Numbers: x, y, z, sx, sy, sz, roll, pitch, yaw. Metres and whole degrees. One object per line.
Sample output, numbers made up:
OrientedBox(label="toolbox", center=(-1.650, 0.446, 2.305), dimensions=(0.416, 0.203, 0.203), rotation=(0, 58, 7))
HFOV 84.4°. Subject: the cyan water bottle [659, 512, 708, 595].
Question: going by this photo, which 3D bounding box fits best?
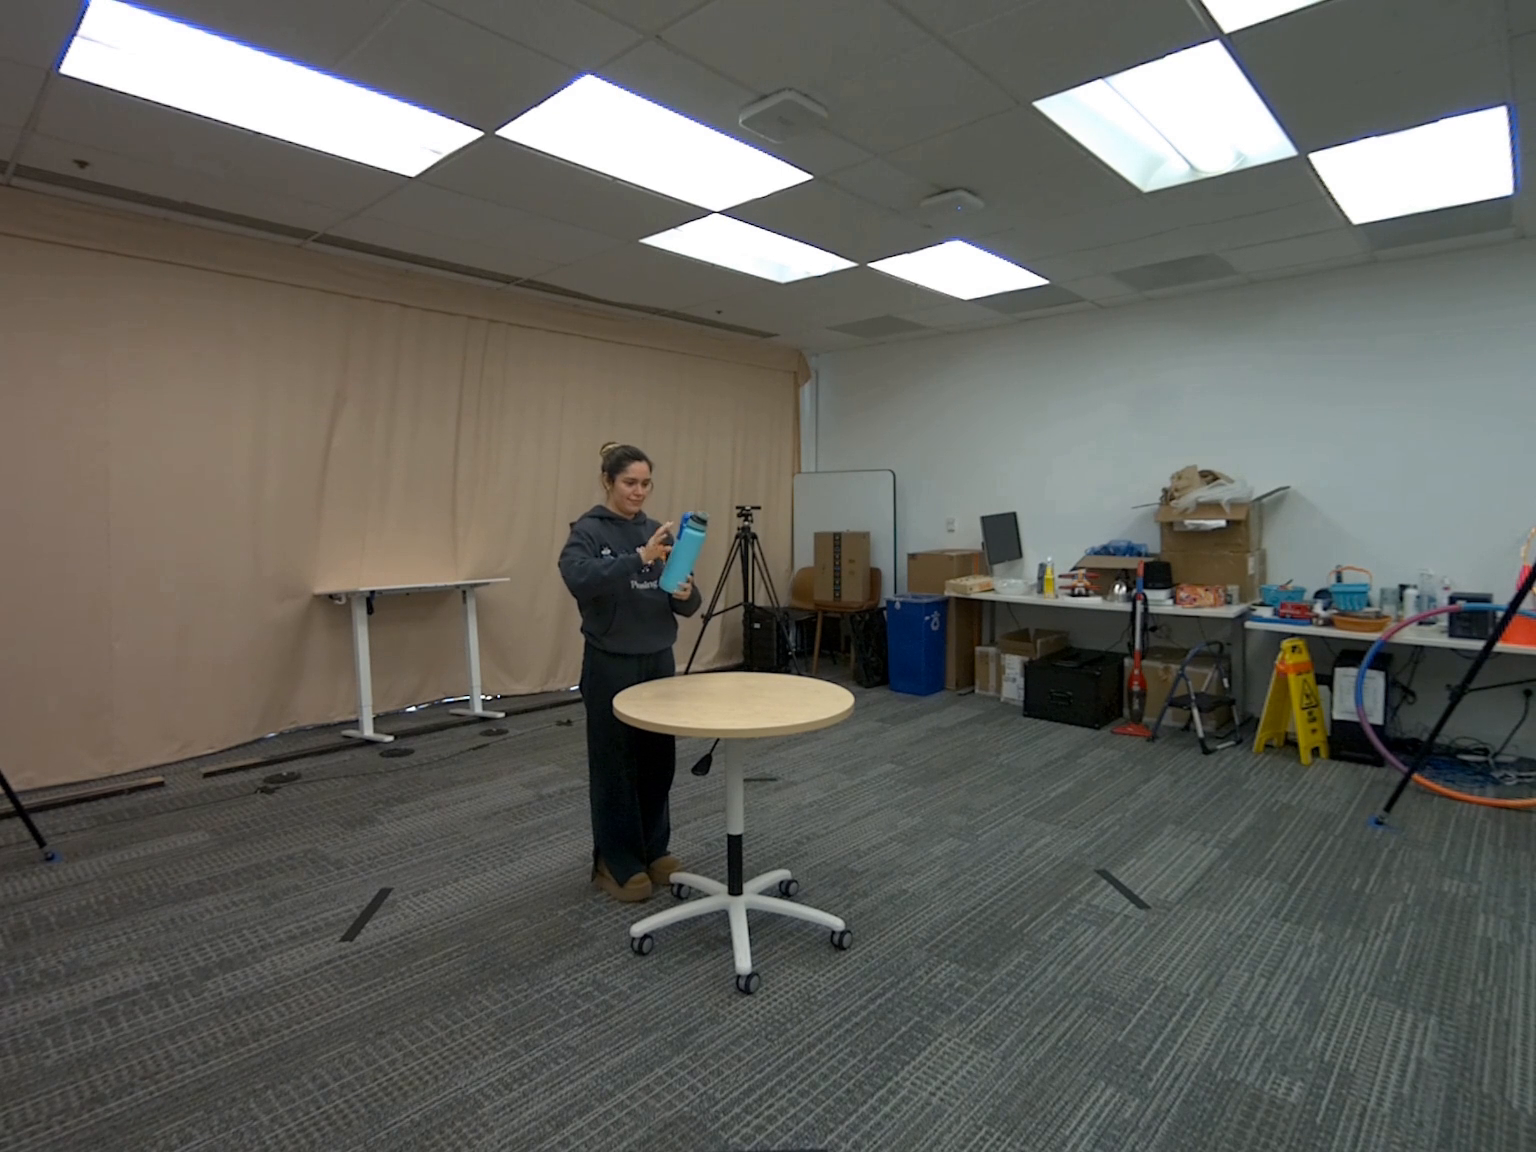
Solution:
OrientedBox(label="cyan water bottle", center=(-0.276, -0.085, 2.811), dimensions=(0.092, 0.283, 0.093), rotation=(20, 11, -6))
